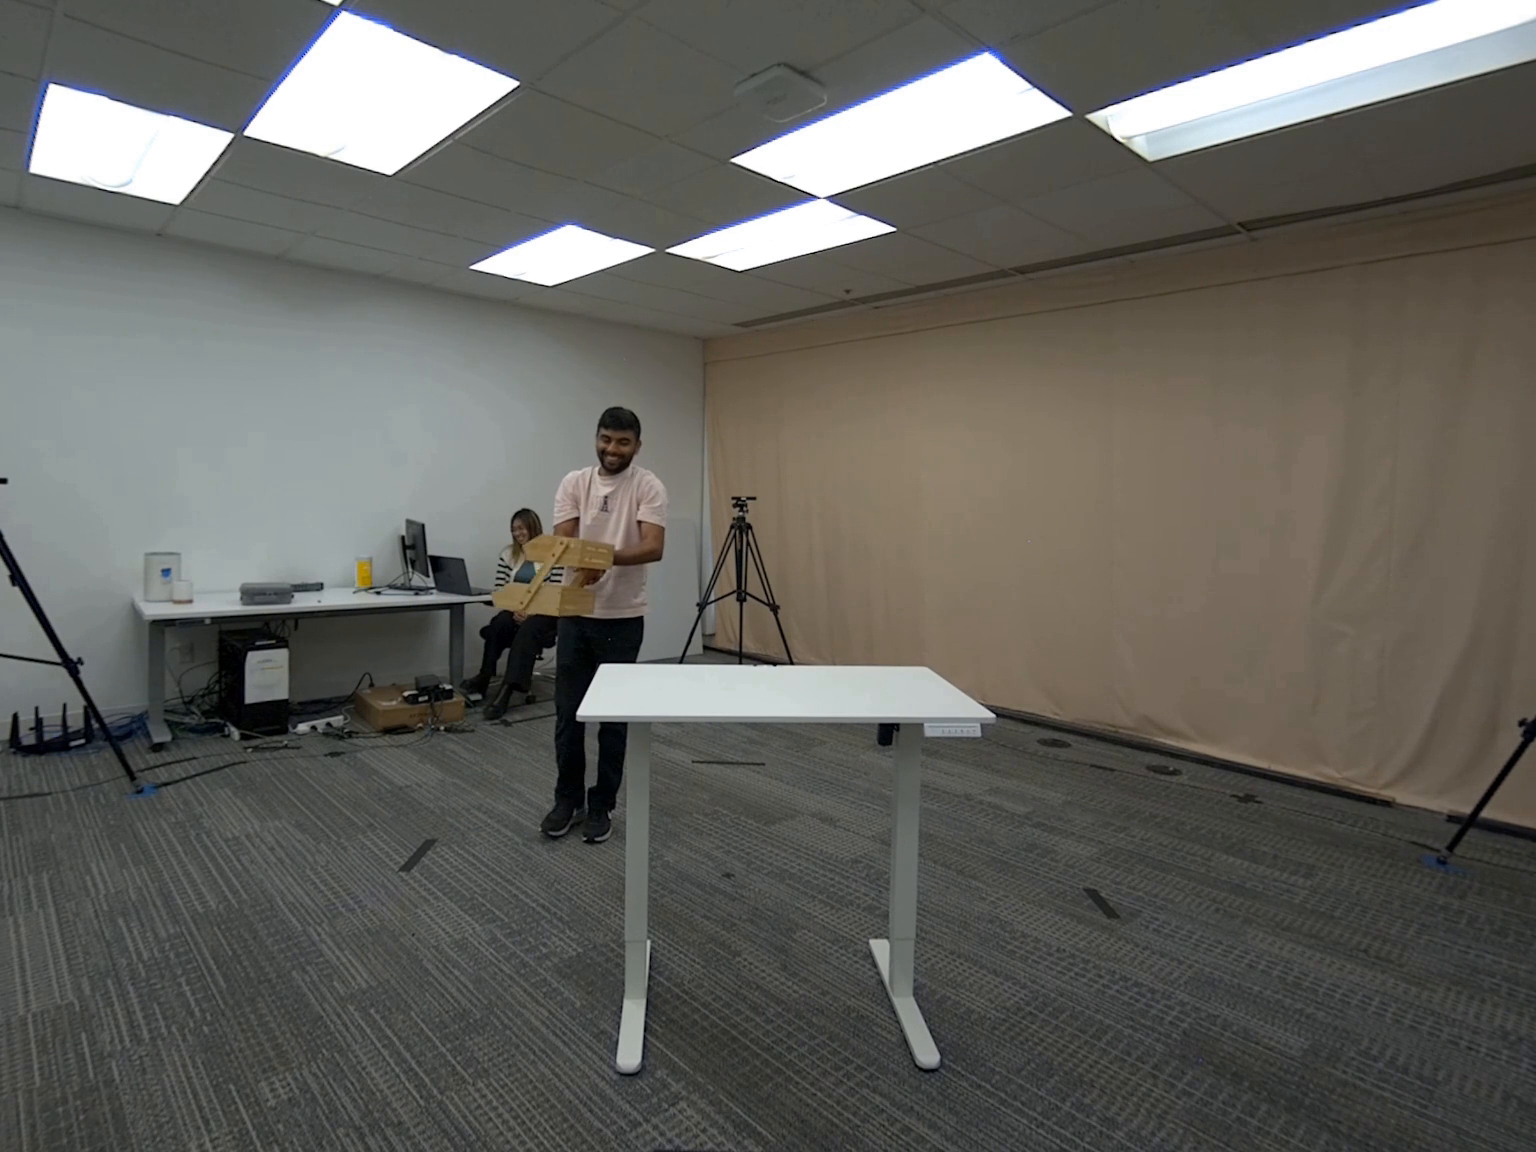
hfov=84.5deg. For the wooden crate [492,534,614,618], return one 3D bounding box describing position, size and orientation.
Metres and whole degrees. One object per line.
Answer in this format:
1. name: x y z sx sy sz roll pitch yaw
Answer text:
1. wooden crate: -0.755 0.000 2.914 0.305 0.274 0.320 3 -2 12
